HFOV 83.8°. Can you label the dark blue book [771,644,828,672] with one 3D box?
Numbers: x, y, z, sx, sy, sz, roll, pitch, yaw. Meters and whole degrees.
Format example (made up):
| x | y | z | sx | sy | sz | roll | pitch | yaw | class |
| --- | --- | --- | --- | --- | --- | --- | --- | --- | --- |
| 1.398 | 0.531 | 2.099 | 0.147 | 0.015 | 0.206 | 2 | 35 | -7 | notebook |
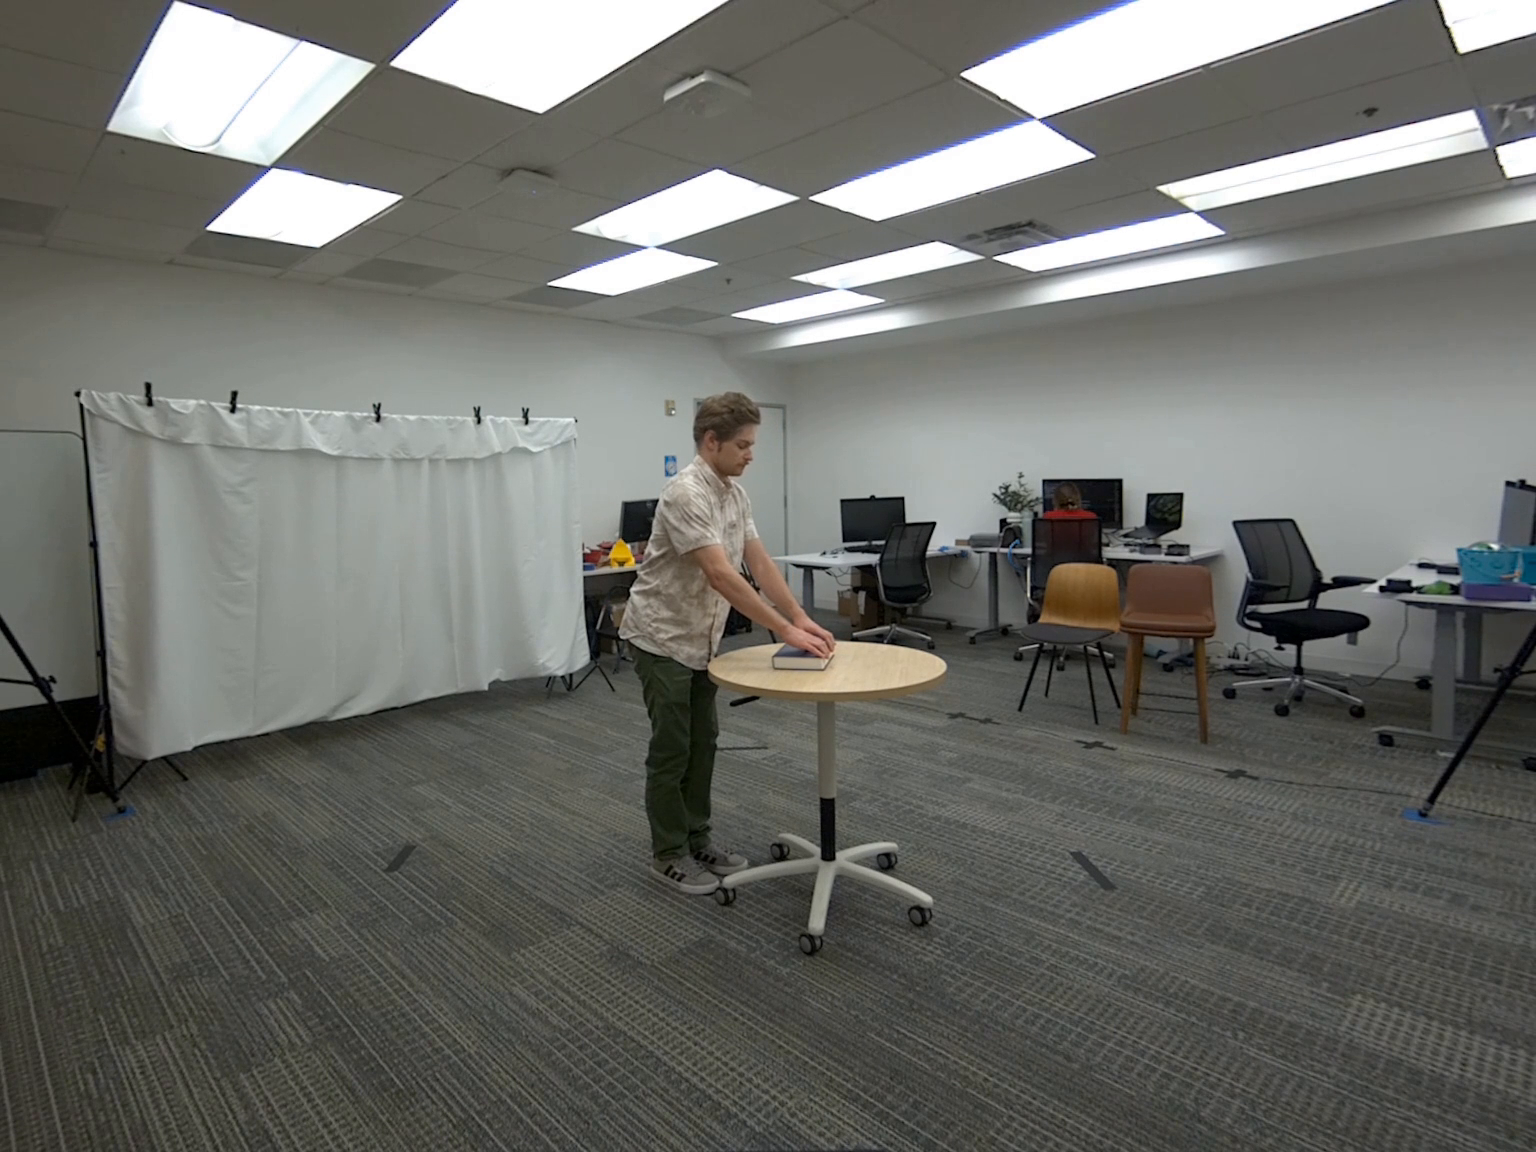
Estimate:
| x | y | z | sx | sy | sz | roll | pitch | yaw | class |
| --- | --- | --- | --- | --- | --- | --- | --- | --- | --- |
| 0.125 | 0.261 | 2.798 | 0.165 | 0.045 | 0.243 | 0 | 6 | 11 | dark blue book |
